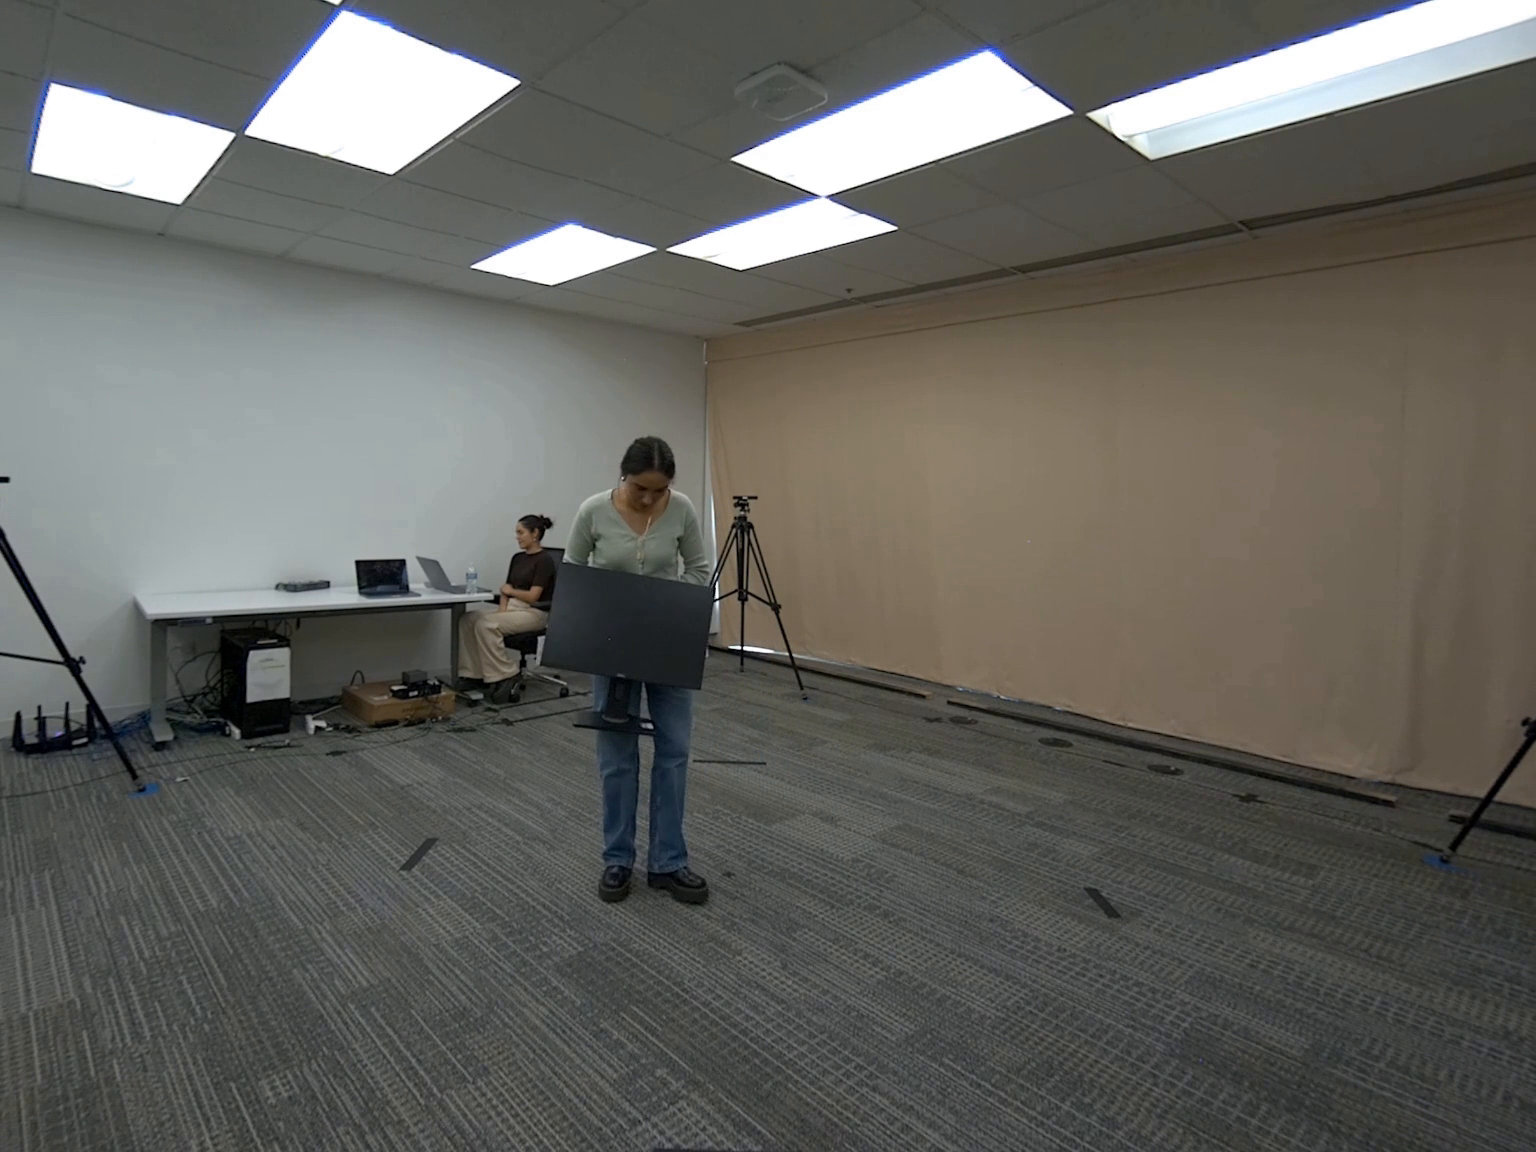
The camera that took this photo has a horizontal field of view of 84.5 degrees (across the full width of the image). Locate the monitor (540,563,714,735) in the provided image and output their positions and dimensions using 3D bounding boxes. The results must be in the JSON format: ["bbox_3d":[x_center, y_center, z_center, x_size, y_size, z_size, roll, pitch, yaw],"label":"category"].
[{"bbox_3d":[-0.478,0.254,2.831,0.527,0.514,0.176,10,5,-6],"label":"monitor"}]
